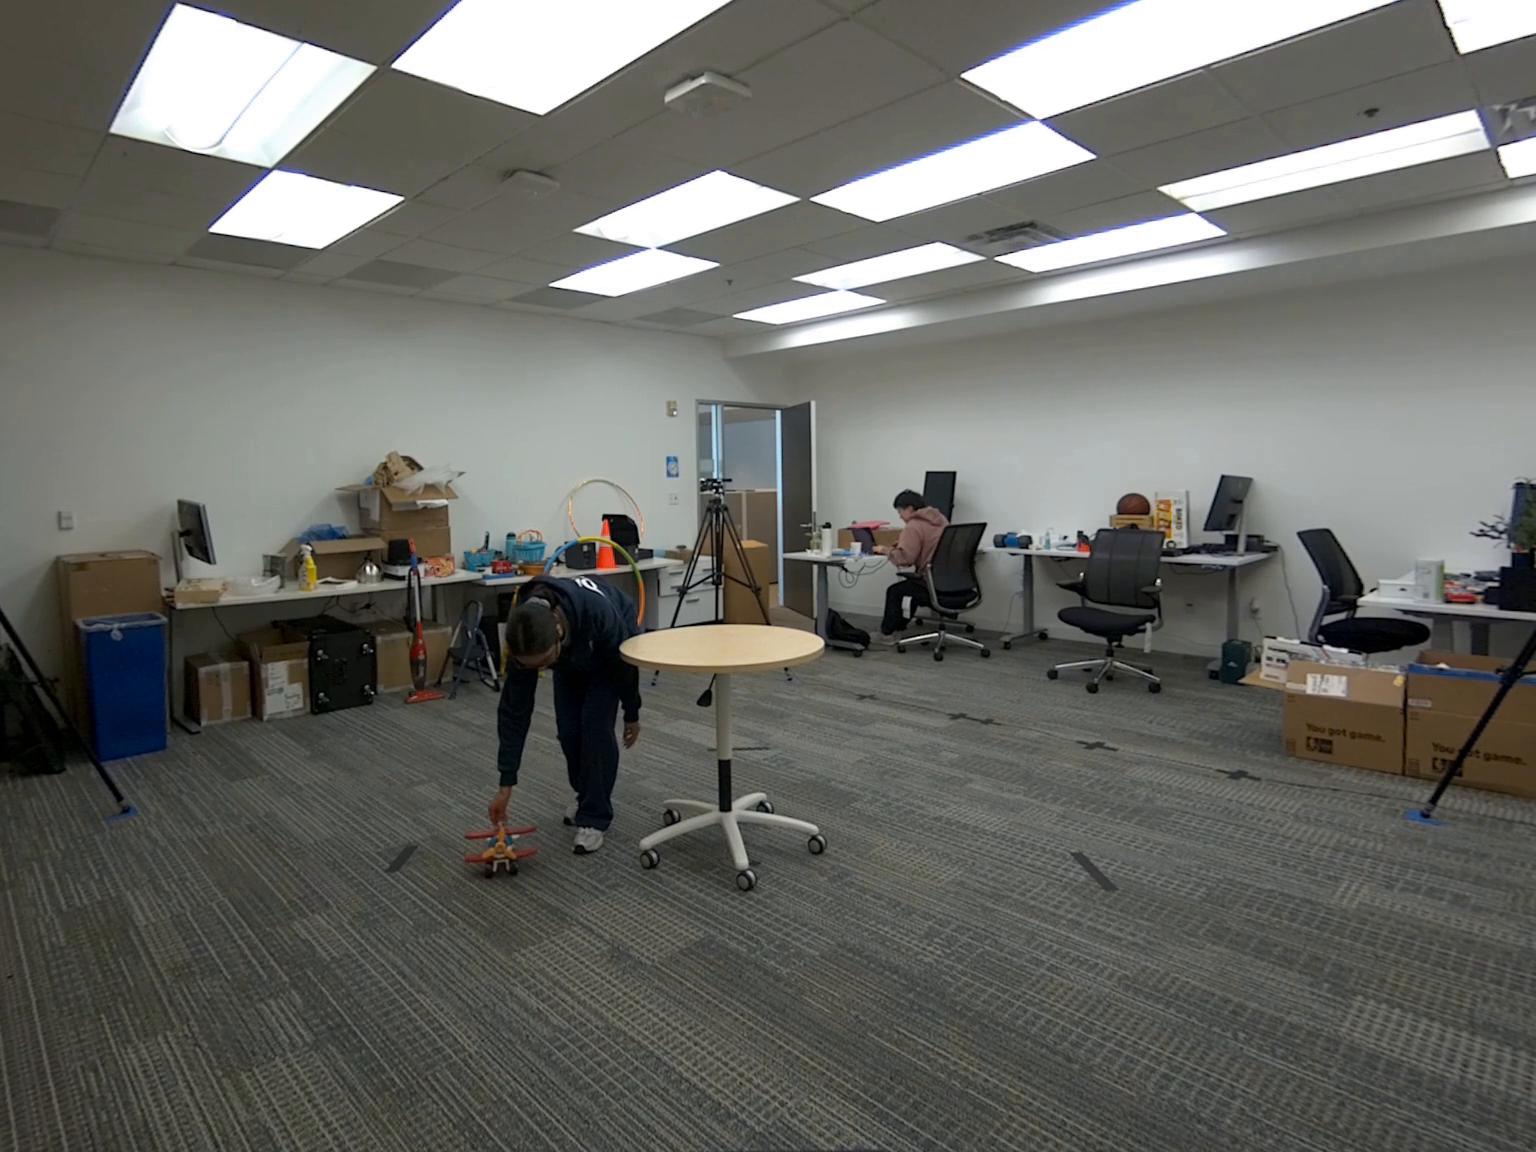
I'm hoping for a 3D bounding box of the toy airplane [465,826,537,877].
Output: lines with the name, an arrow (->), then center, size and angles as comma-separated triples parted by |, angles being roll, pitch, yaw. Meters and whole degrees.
toy airplane -> -0.994, 0.991, 3.131 | 0.245, 0.156, 0.267 | -7, 8, -41
